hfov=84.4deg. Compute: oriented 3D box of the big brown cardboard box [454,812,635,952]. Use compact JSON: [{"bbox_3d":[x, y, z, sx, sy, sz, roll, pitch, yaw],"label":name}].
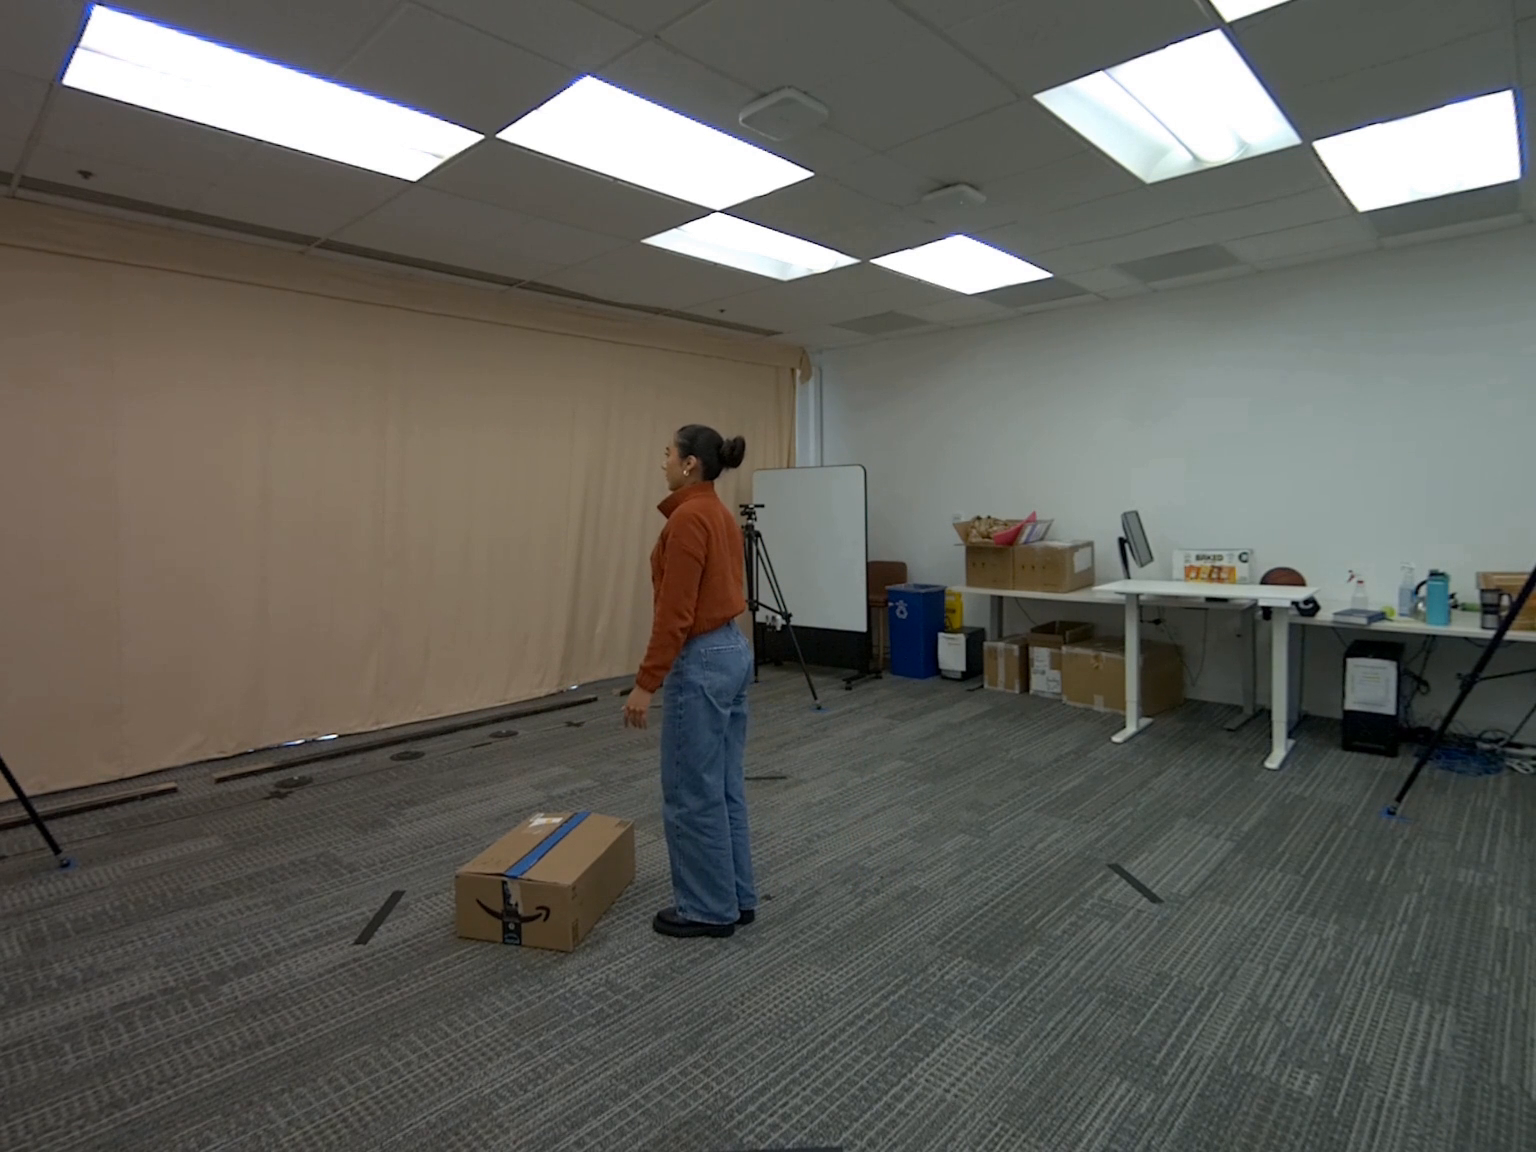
[{"bbox_3d":[-0.756,1.043,2.961,0.424,0.232,0.582,0,5,13],"label":"big brown cardboard box"}]
